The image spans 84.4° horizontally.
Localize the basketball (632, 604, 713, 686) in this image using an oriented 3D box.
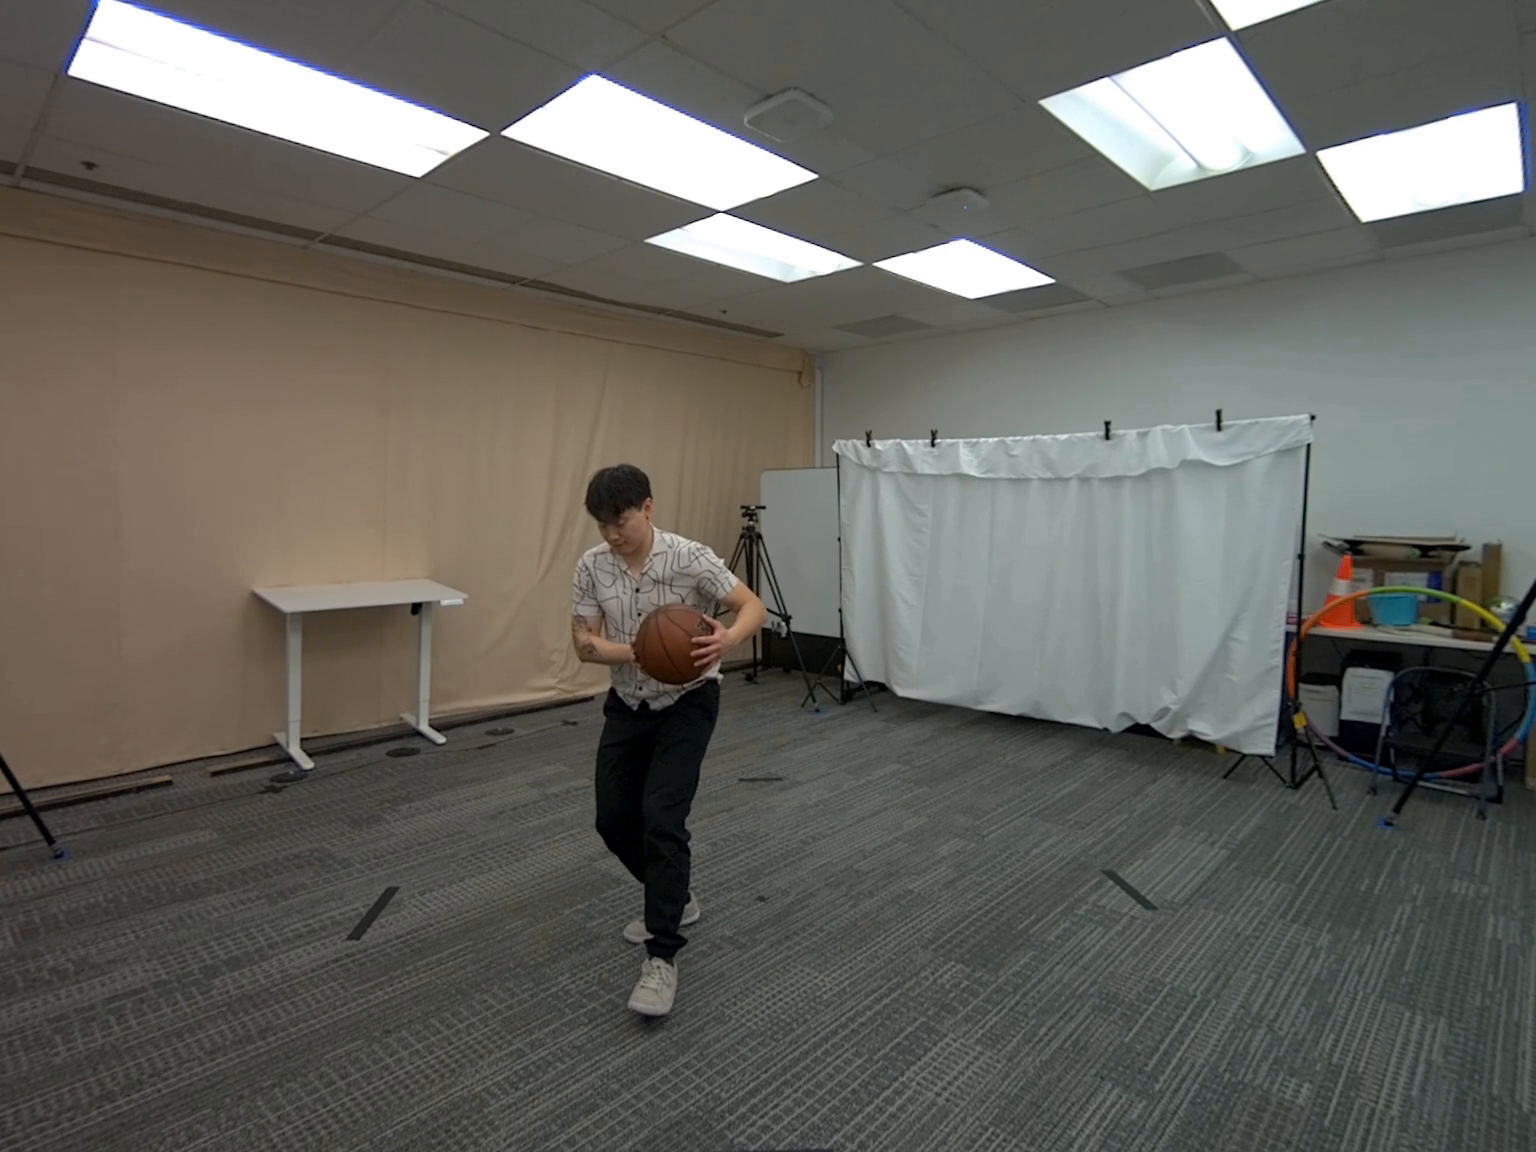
[{"bbox_3d":[-0.274,0.211,2.457,0.236,0.235,0.237,0,4,-2],"label":"basketball"}]
